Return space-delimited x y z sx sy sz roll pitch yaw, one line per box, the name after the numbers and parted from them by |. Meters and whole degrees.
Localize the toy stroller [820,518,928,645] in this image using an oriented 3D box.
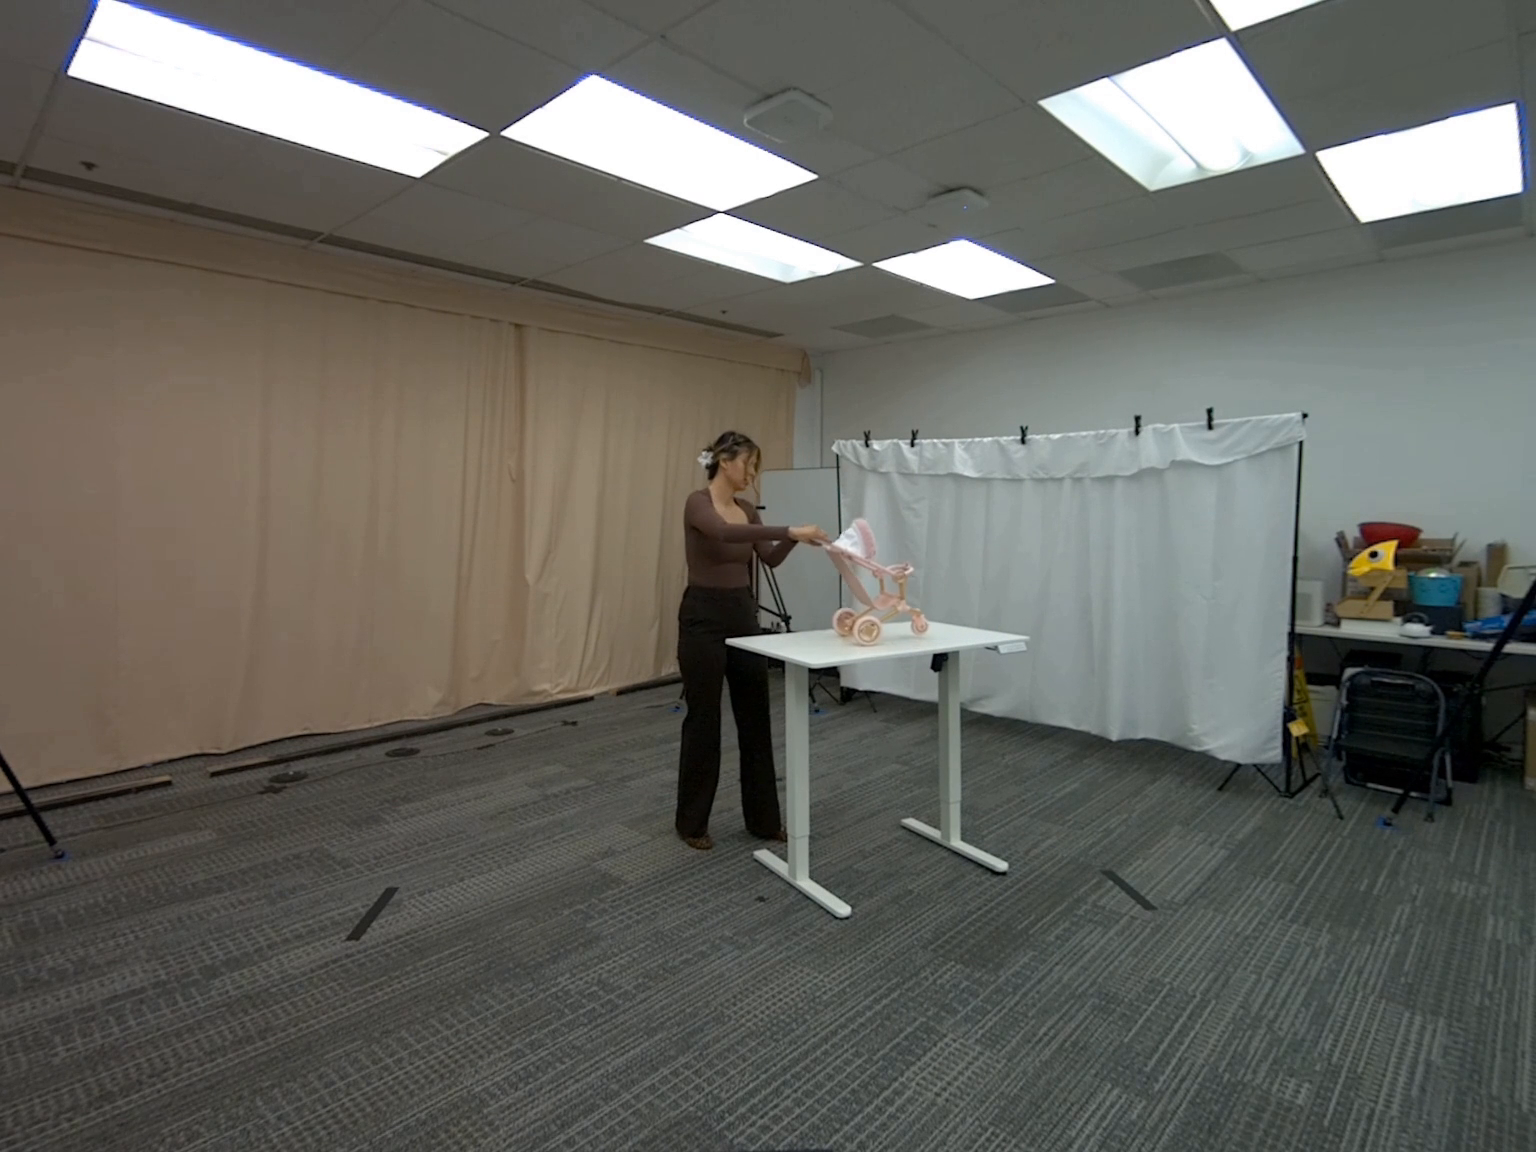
0.391 0.024 3.170 0.340 0.532 0.284 -18 6 -6 | toy stroller
